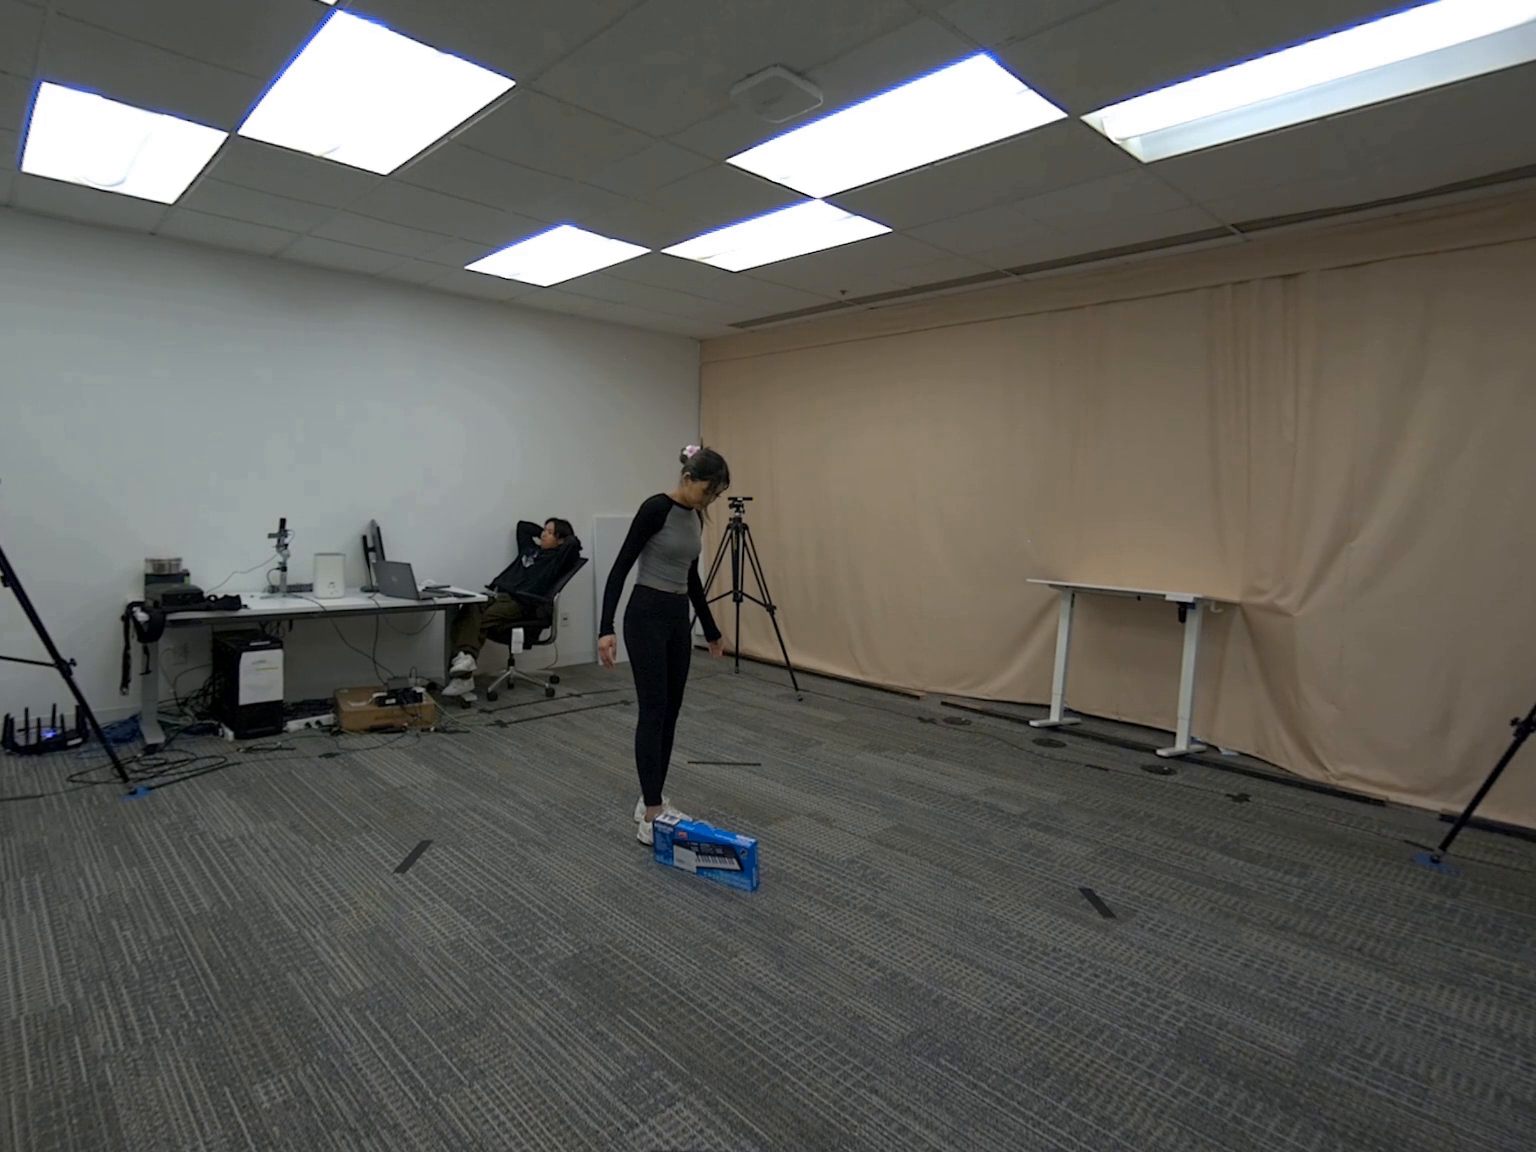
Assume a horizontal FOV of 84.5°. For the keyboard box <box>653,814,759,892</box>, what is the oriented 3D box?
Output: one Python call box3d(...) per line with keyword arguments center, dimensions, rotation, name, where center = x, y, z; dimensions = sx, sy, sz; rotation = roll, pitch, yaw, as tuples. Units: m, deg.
box3d(center=(-0.240, 1.017, 3.106), dimensions=(0.447, 0.174, 0.058), rotation=(4, 12, 32), name="keyboard box")
